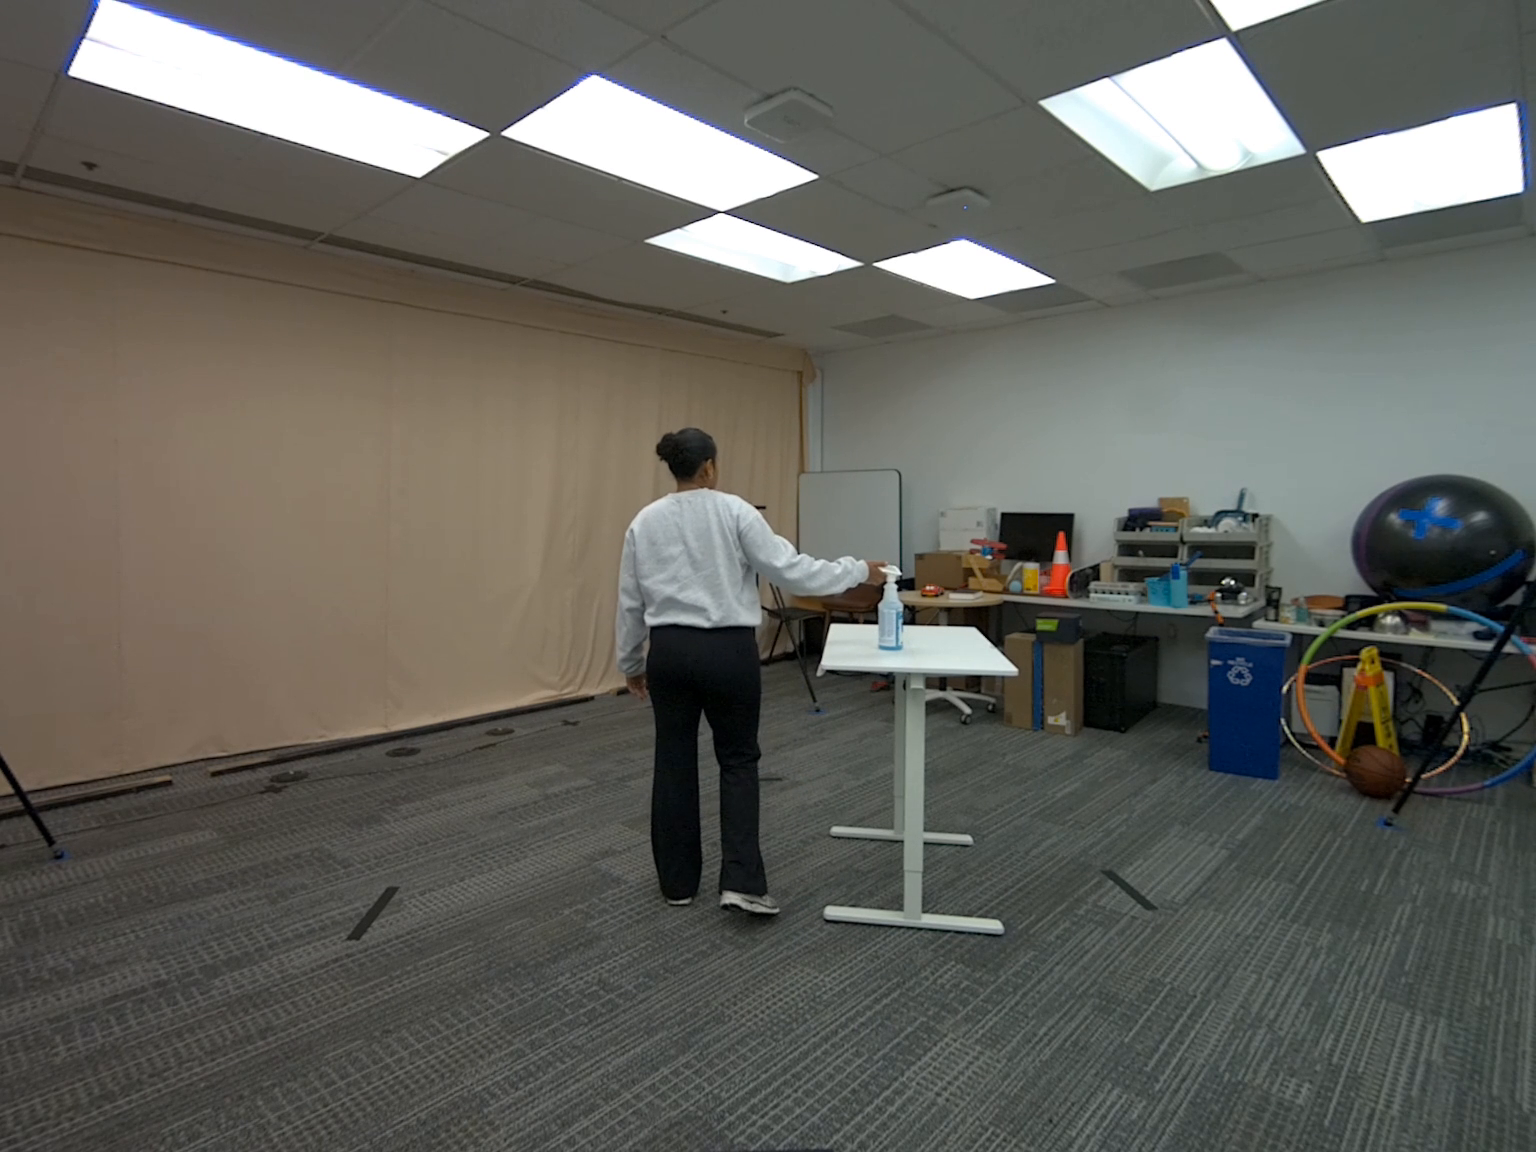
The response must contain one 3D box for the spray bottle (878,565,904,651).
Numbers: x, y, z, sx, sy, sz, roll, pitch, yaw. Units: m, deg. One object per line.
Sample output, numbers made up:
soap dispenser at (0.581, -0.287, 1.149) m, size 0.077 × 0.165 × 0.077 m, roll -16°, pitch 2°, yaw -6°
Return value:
spray bottle at (0.442, 0.112, 2.975) m, size 0.085 × 0.297 × 0.092 m, roll -1°, pitch 1°, yaw -27°
